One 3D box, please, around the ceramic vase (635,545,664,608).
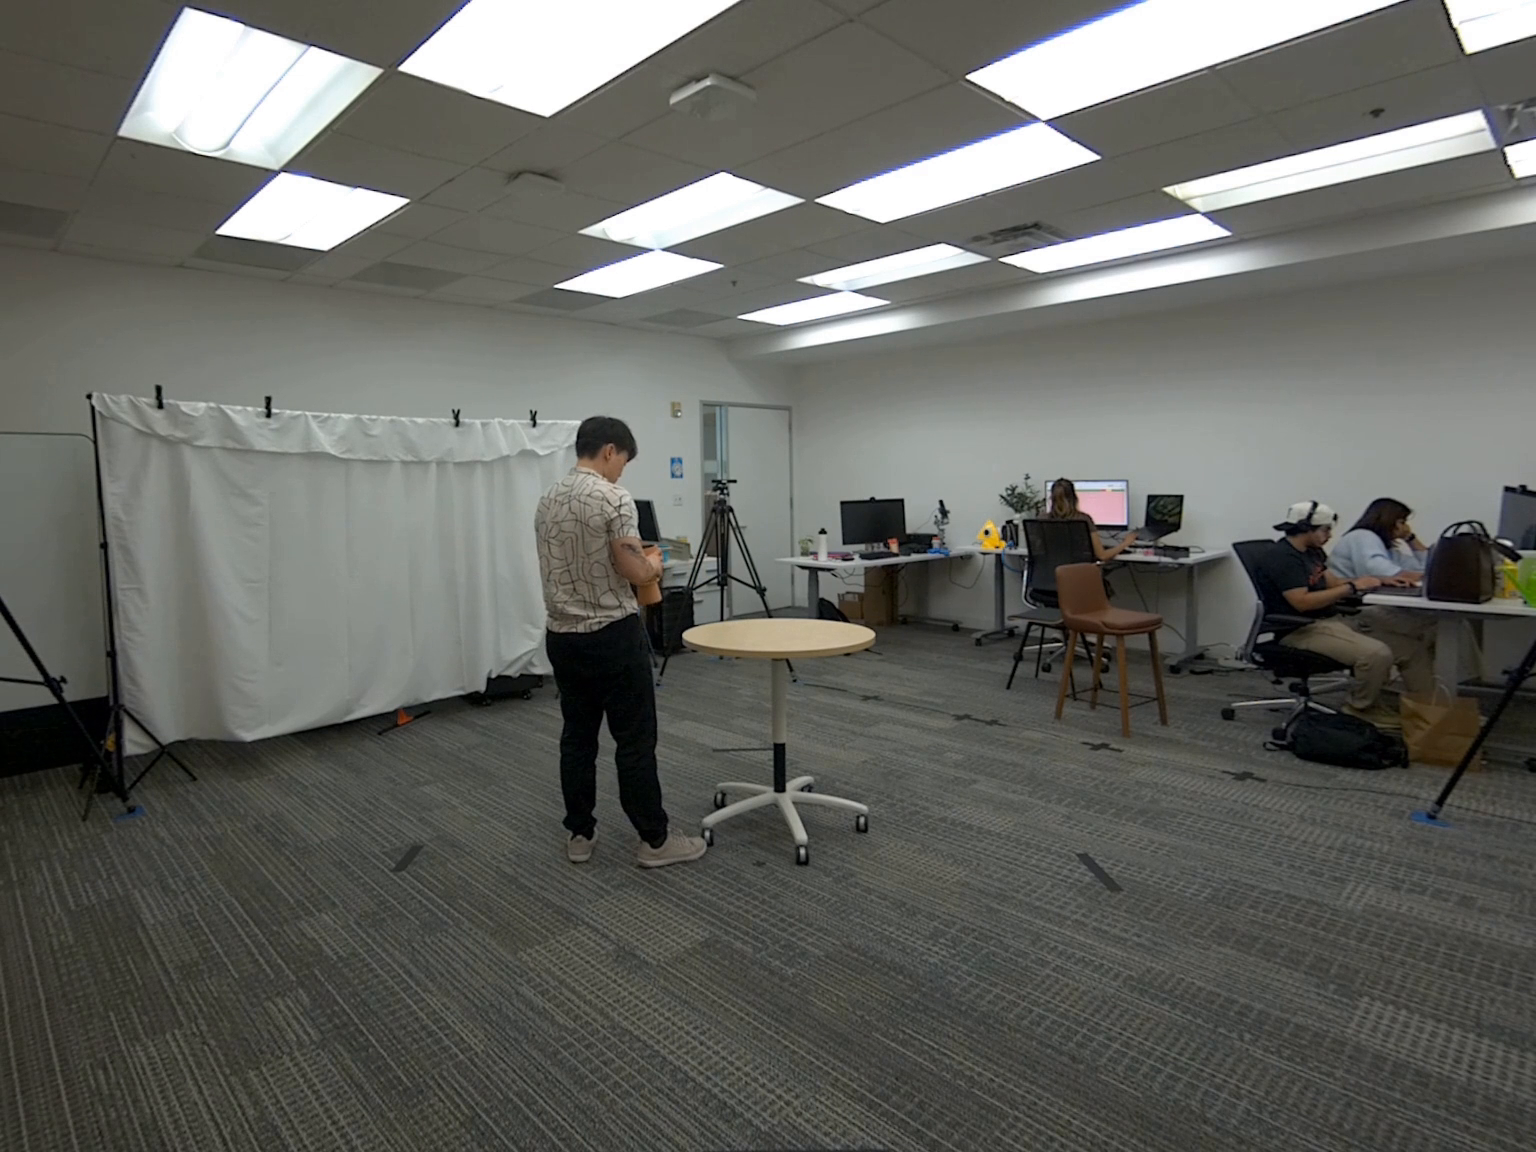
[{"bbox_3d":[-0.483,-0.007,3.383,0.158,0.217,0.137,-8,11,-8],"label":"ceramic vase"}]
